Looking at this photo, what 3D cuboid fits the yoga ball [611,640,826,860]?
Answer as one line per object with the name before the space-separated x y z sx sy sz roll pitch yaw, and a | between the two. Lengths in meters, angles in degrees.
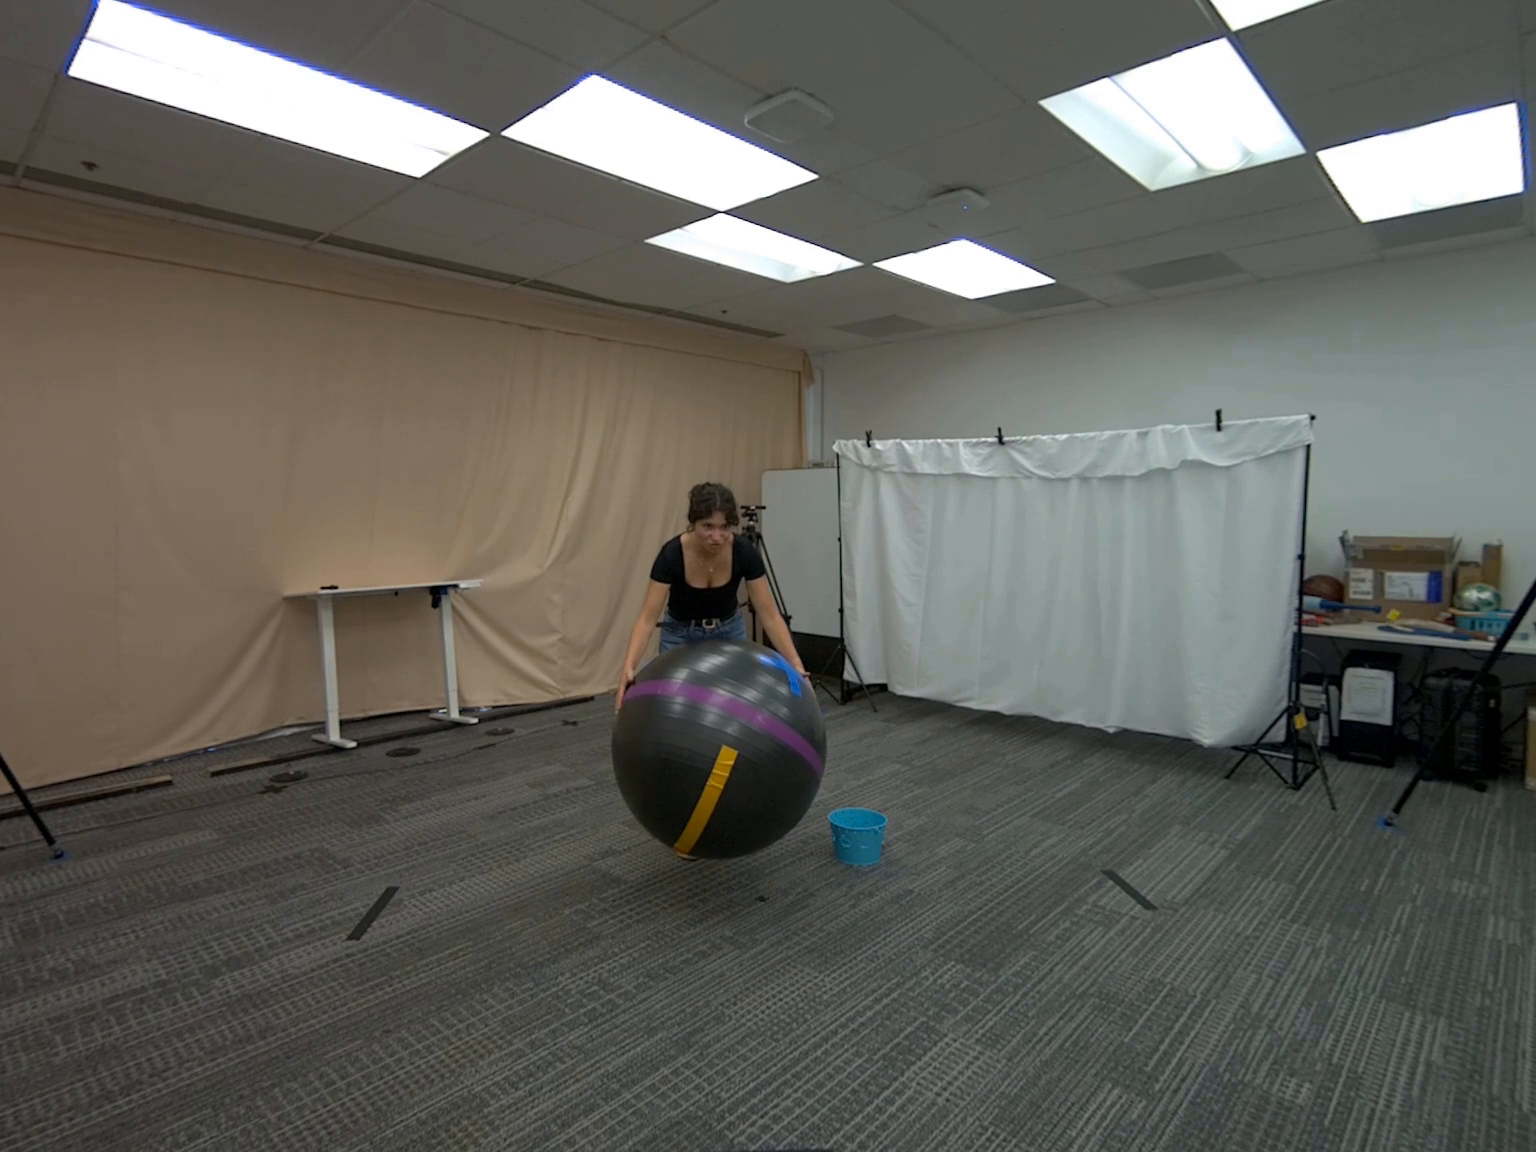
yoga ball | -0.178 0.608 2.950 0.757 0.756 0.760 0 4 -2
